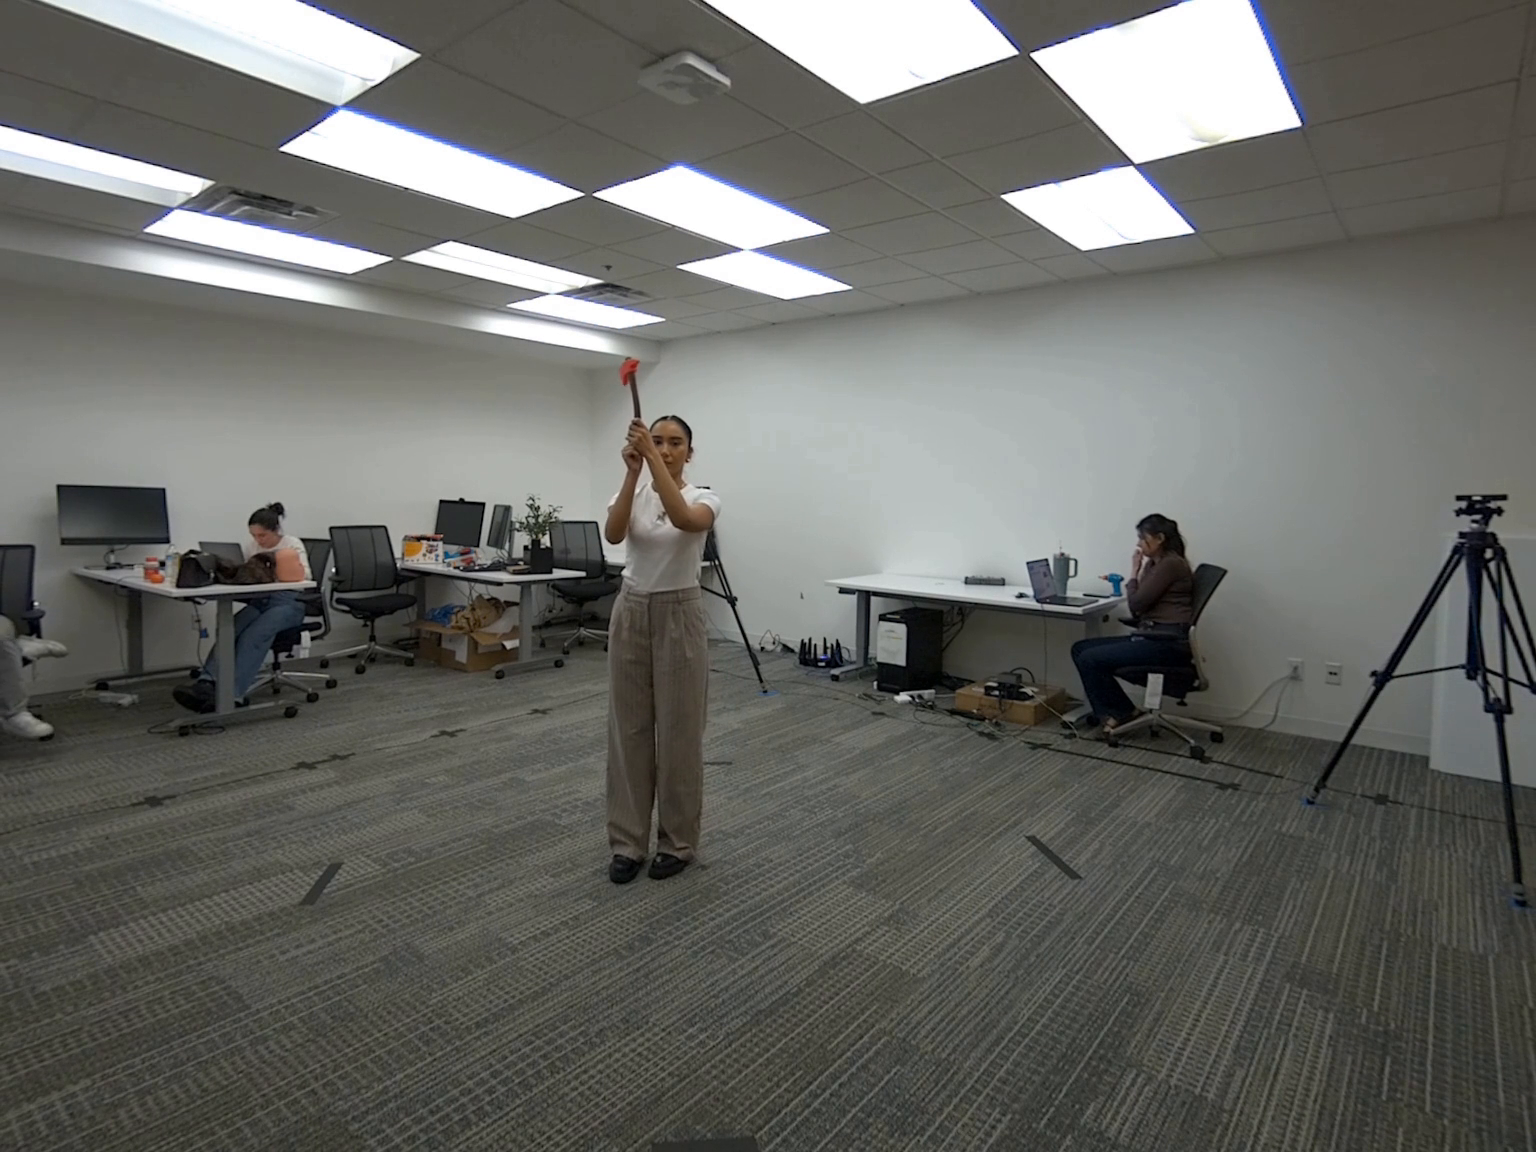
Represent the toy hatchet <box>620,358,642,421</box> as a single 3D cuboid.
[{"bbox_3d":[-0.467,-0.589,2.809,0.029,0.266,0.136,-11,19,-37],"label":"toy hatchet"}]
